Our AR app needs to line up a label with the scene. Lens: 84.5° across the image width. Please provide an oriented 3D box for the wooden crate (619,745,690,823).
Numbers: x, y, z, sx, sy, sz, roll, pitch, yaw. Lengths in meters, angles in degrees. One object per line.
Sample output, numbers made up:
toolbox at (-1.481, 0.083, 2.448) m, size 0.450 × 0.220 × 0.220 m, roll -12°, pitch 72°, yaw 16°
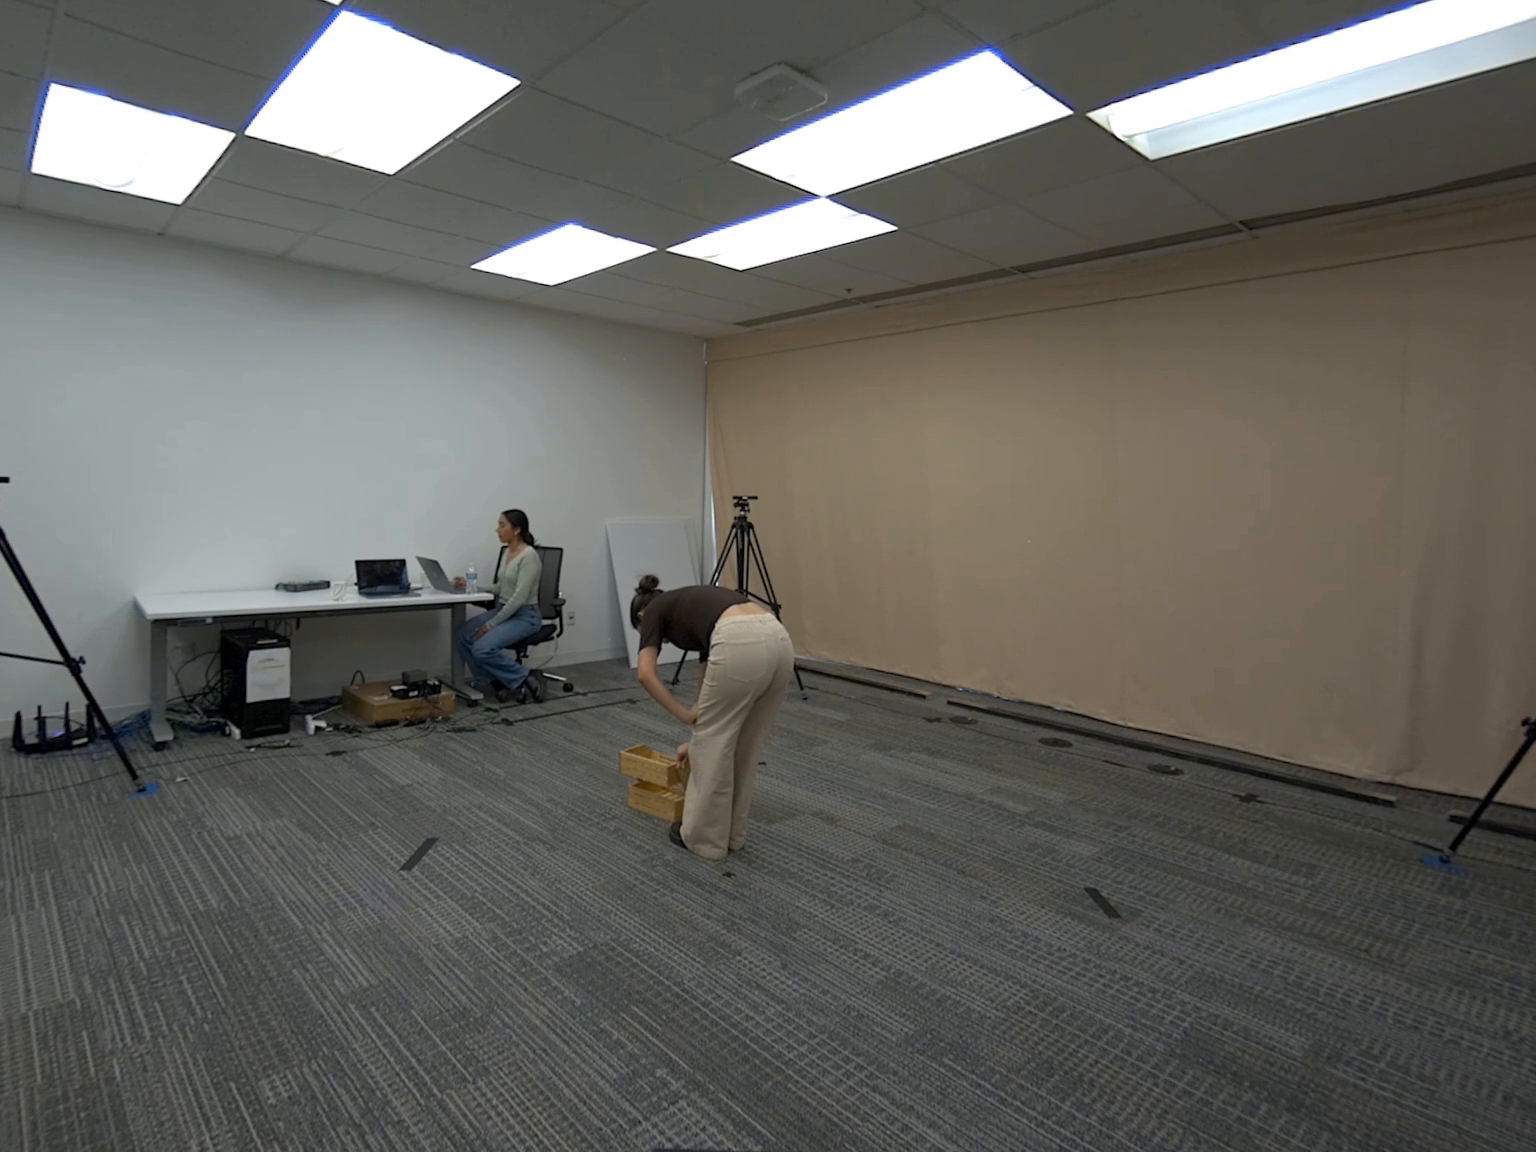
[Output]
wooden crate at (-0.461, 0.903, 3.751) m, size 0.332 × 0.272 × 0.295 m, roll 5°, pitch 6°, yaw 38°
